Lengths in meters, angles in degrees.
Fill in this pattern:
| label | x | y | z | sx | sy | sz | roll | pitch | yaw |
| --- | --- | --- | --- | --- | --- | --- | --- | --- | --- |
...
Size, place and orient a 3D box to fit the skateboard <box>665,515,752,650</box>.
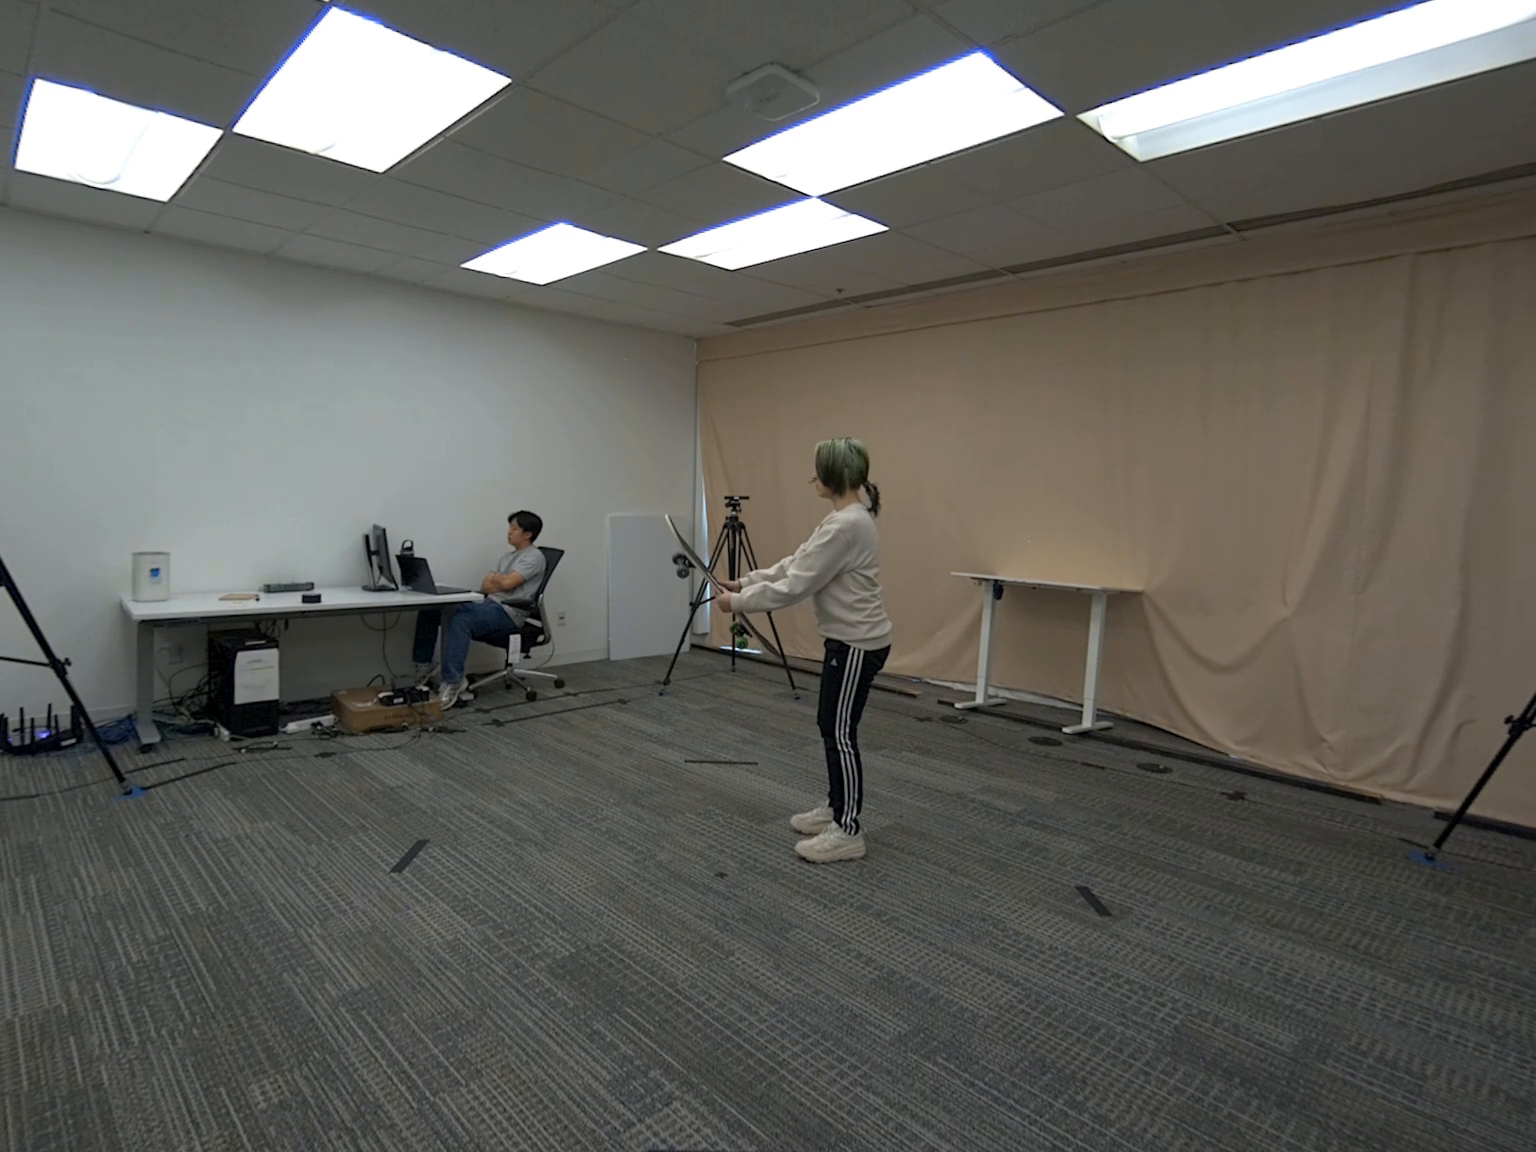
| label | x | y | z | sx | sy | sz | roll | pitch | yaw |
| --- | --- | --- | --- | --- | --- | --- | --- | --- | --- |
| skateboard | -0.215 | 0.086 | 3.392 | 0.110 | 0.769 | 0.197 | -38 | 21 | 0 |
